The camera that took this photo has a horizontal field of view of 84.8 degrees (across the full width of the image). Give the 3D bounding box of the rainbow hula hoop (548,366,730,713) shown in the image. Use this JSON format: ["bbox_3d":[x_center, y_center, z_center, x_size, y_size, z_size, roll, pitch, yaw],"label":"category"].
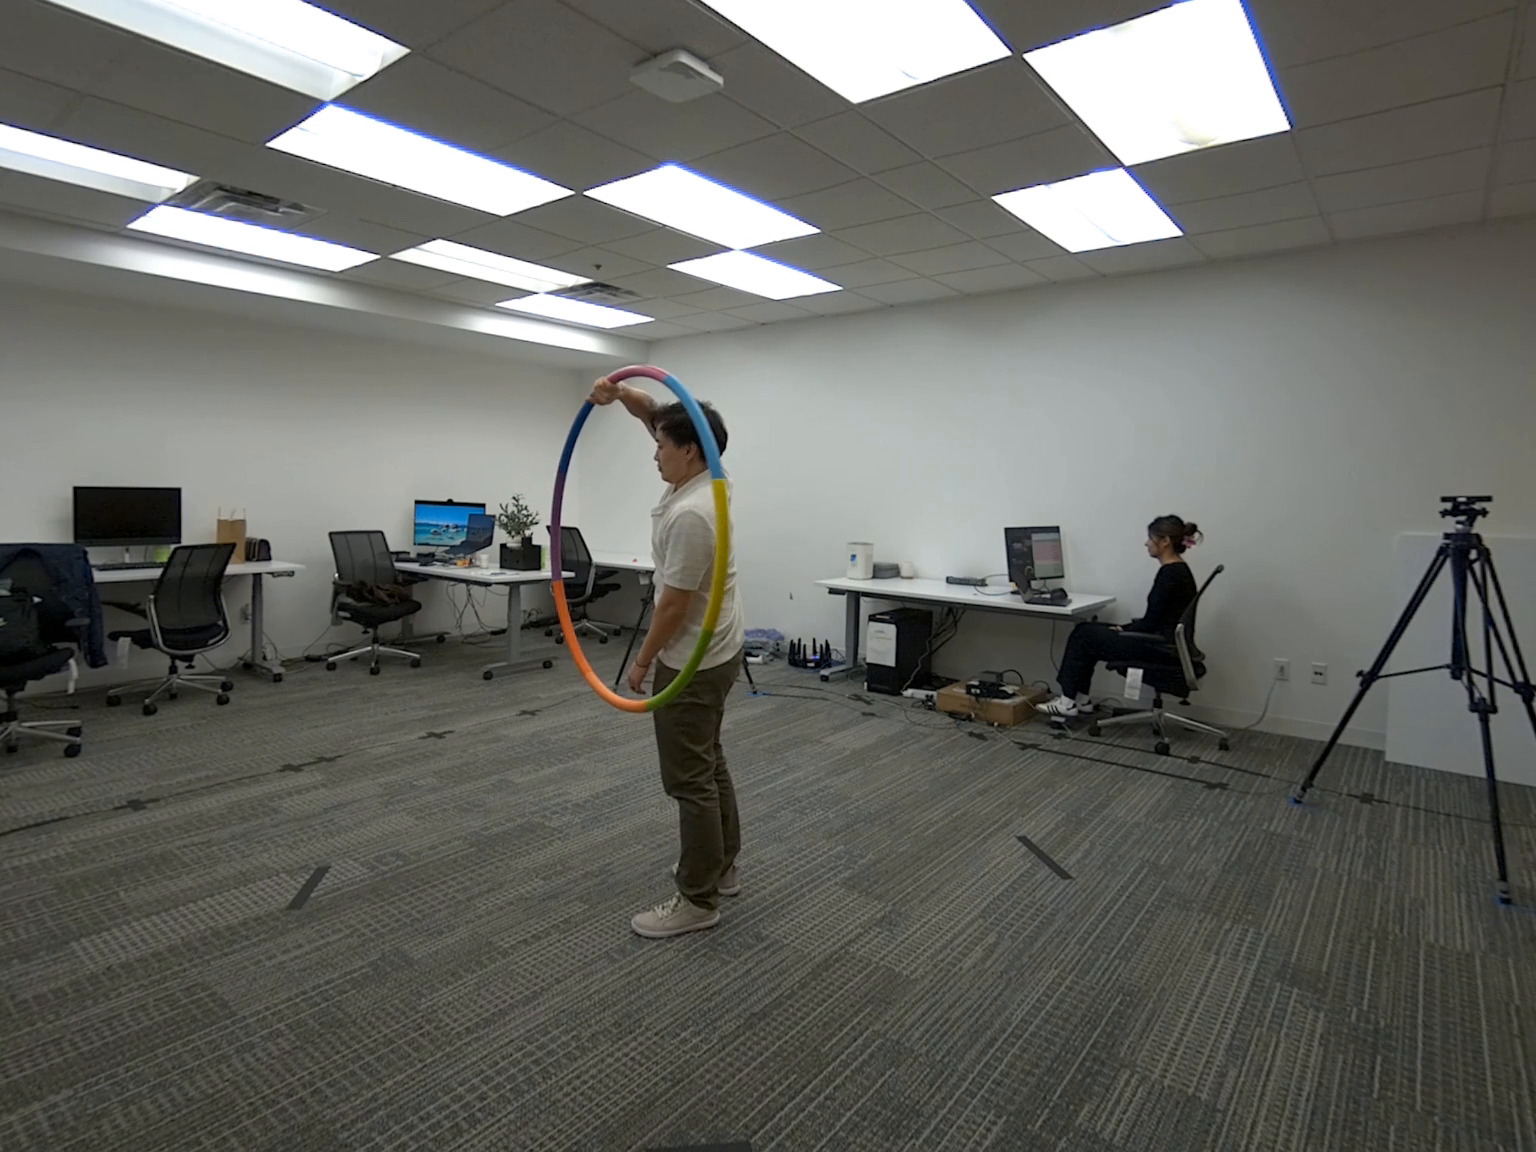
[{"bbox_3d":[-0.415,-0.117,2.470,0.034,0.977,1.011,2,2,-38],"label":"rainbow hula hoop"}]
